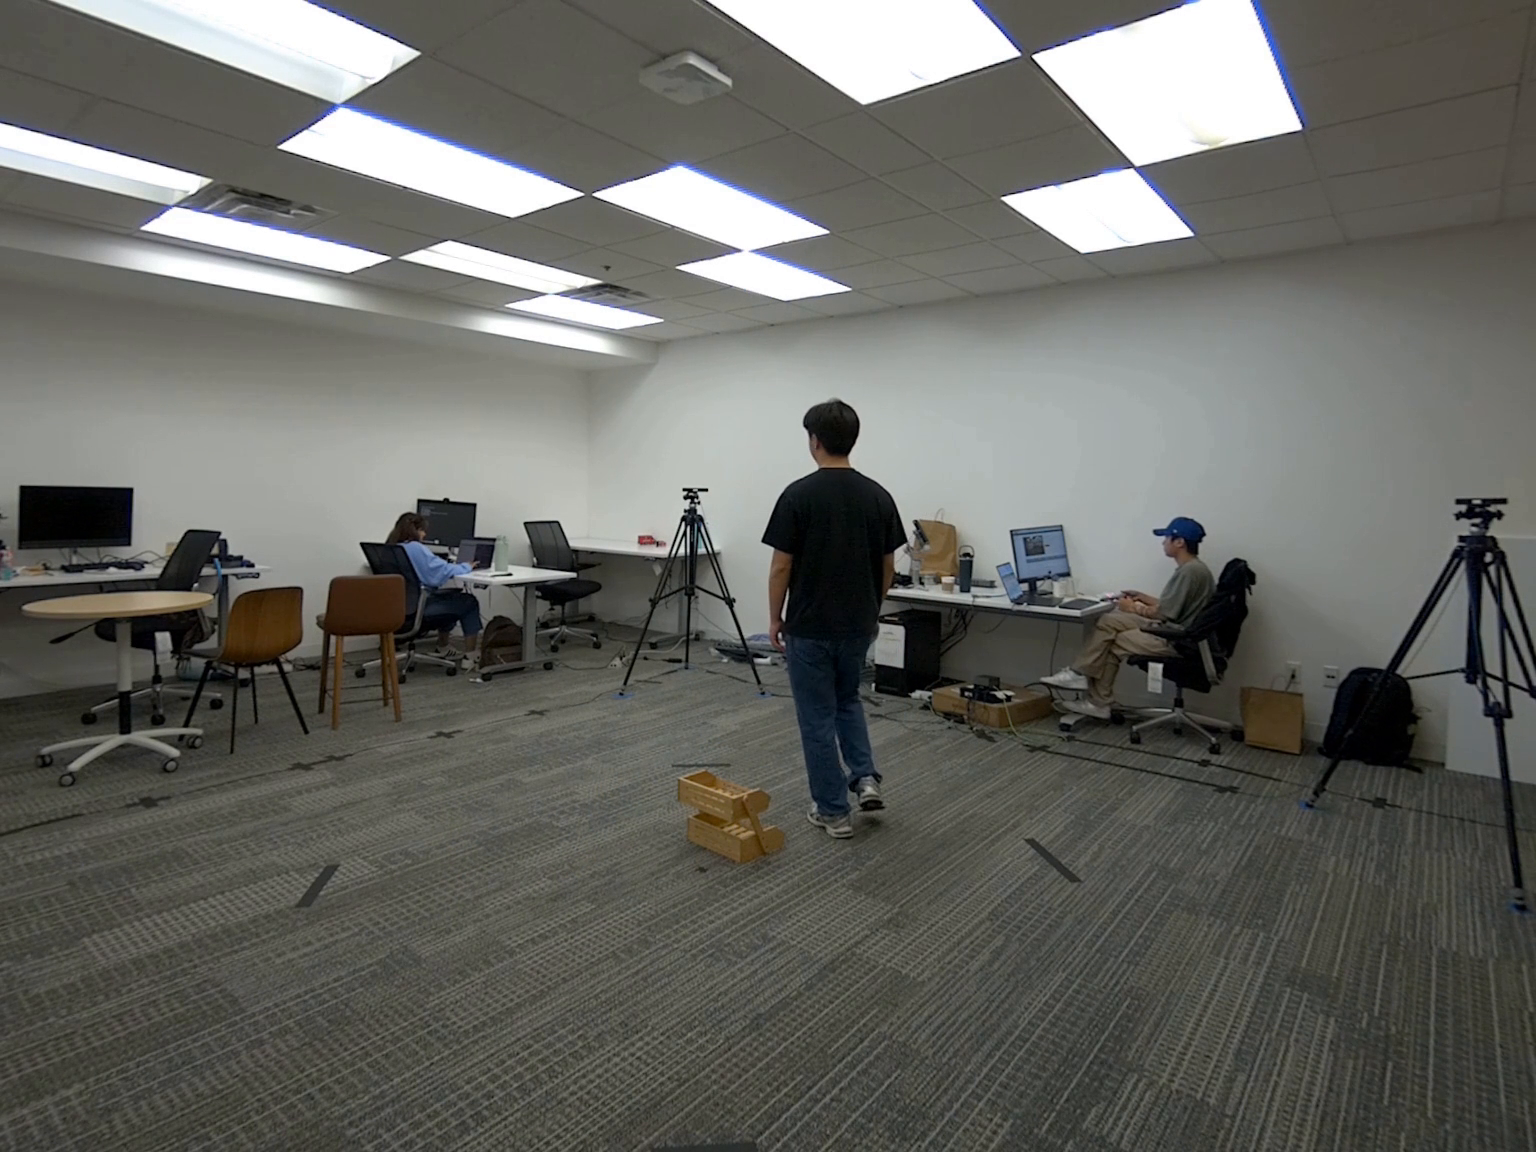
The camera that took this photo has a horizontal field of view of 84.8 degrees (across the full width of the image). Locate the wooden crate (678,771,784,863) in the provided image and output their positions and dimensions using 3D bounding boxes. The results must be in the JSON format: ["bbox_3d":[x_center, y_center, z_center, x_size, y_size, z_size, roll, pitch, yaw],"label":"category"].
[{"bbox_3d":[-0.151,0.917,3.332,0.335,0.272,0.293,5,6,42],"label":"wooden crate"}]
